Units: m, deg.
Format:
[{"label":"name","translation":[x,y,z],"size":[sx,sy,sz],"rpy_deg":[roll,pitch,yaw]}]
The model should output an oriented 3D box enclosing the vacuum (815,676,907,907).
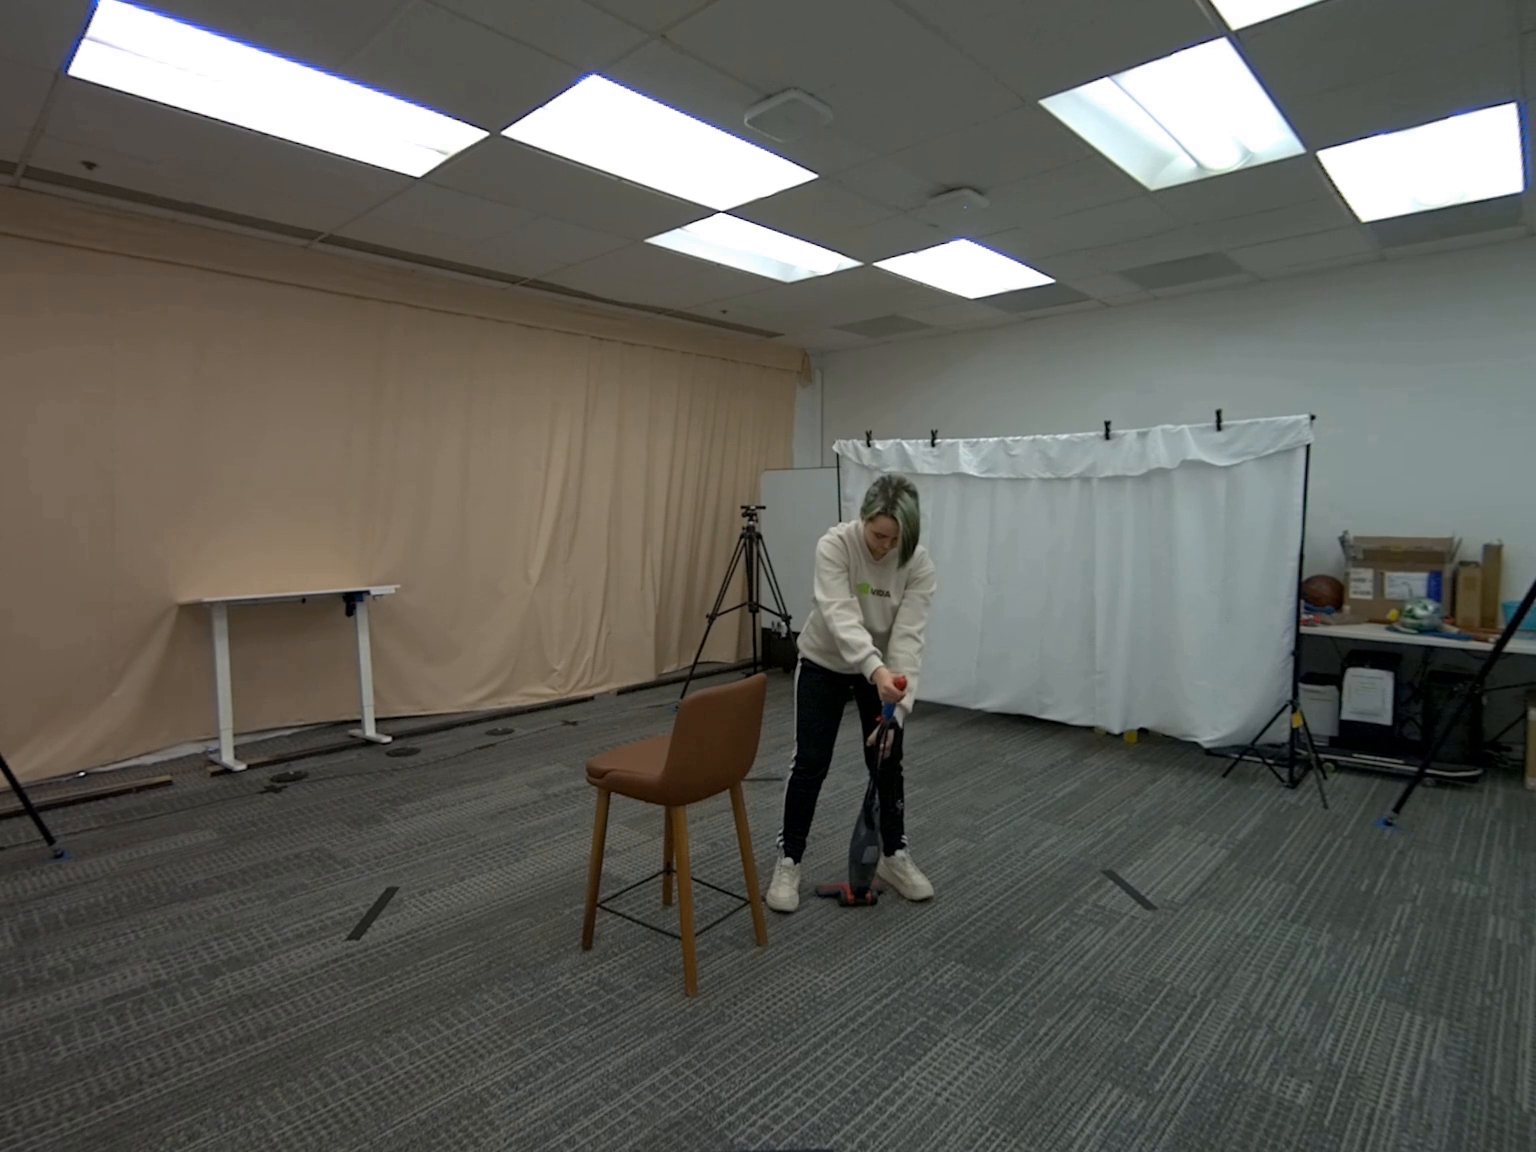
[{"label":"vacuum","translation":[0.348,0.716,2.667],"size":[0.250,1.033,0.148],"rpy_deg":[-3,38,-12]}]
